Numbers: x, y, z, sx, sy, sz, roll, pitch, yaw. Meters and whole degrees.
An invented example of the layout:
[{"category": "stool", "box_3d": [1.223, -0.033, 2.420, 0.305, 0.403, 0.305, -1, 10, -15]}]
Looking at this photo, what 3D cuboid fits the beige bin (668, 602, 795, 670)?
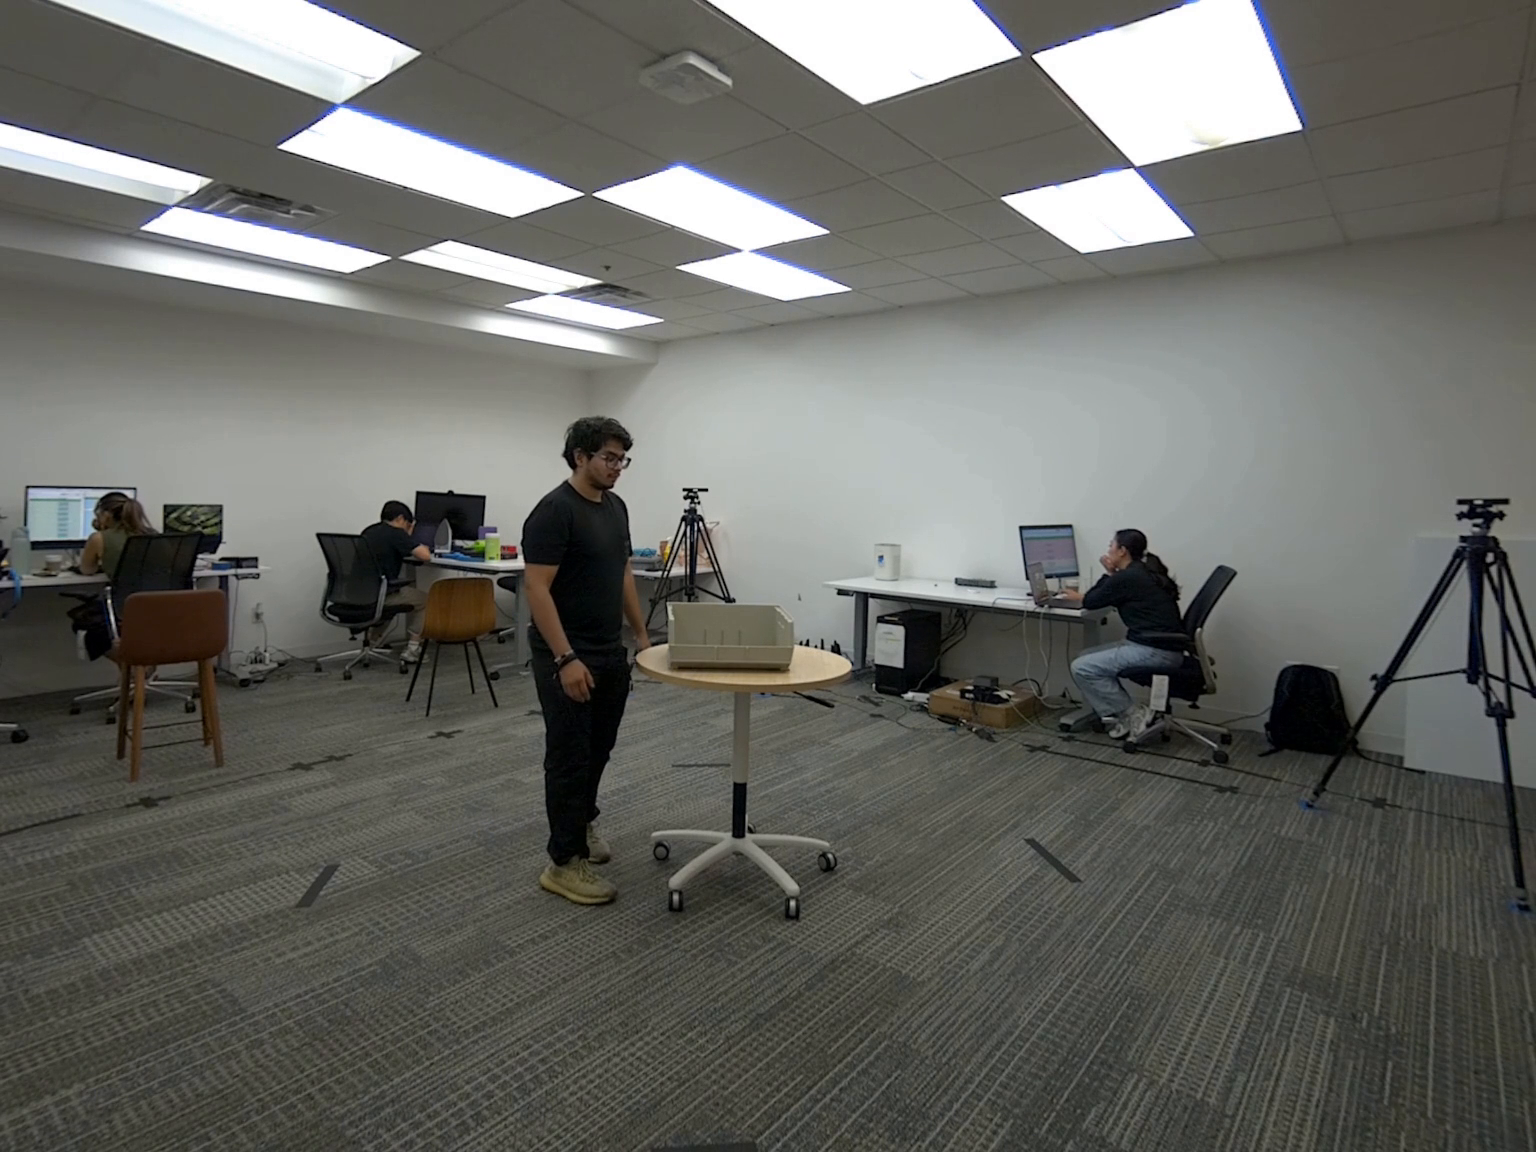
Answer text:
[{"category": "beige bin", "box_3d": [-0.150, 0.213, 2.972, 0.419, 0.188, 0.381, 1, 4, -7]}]
